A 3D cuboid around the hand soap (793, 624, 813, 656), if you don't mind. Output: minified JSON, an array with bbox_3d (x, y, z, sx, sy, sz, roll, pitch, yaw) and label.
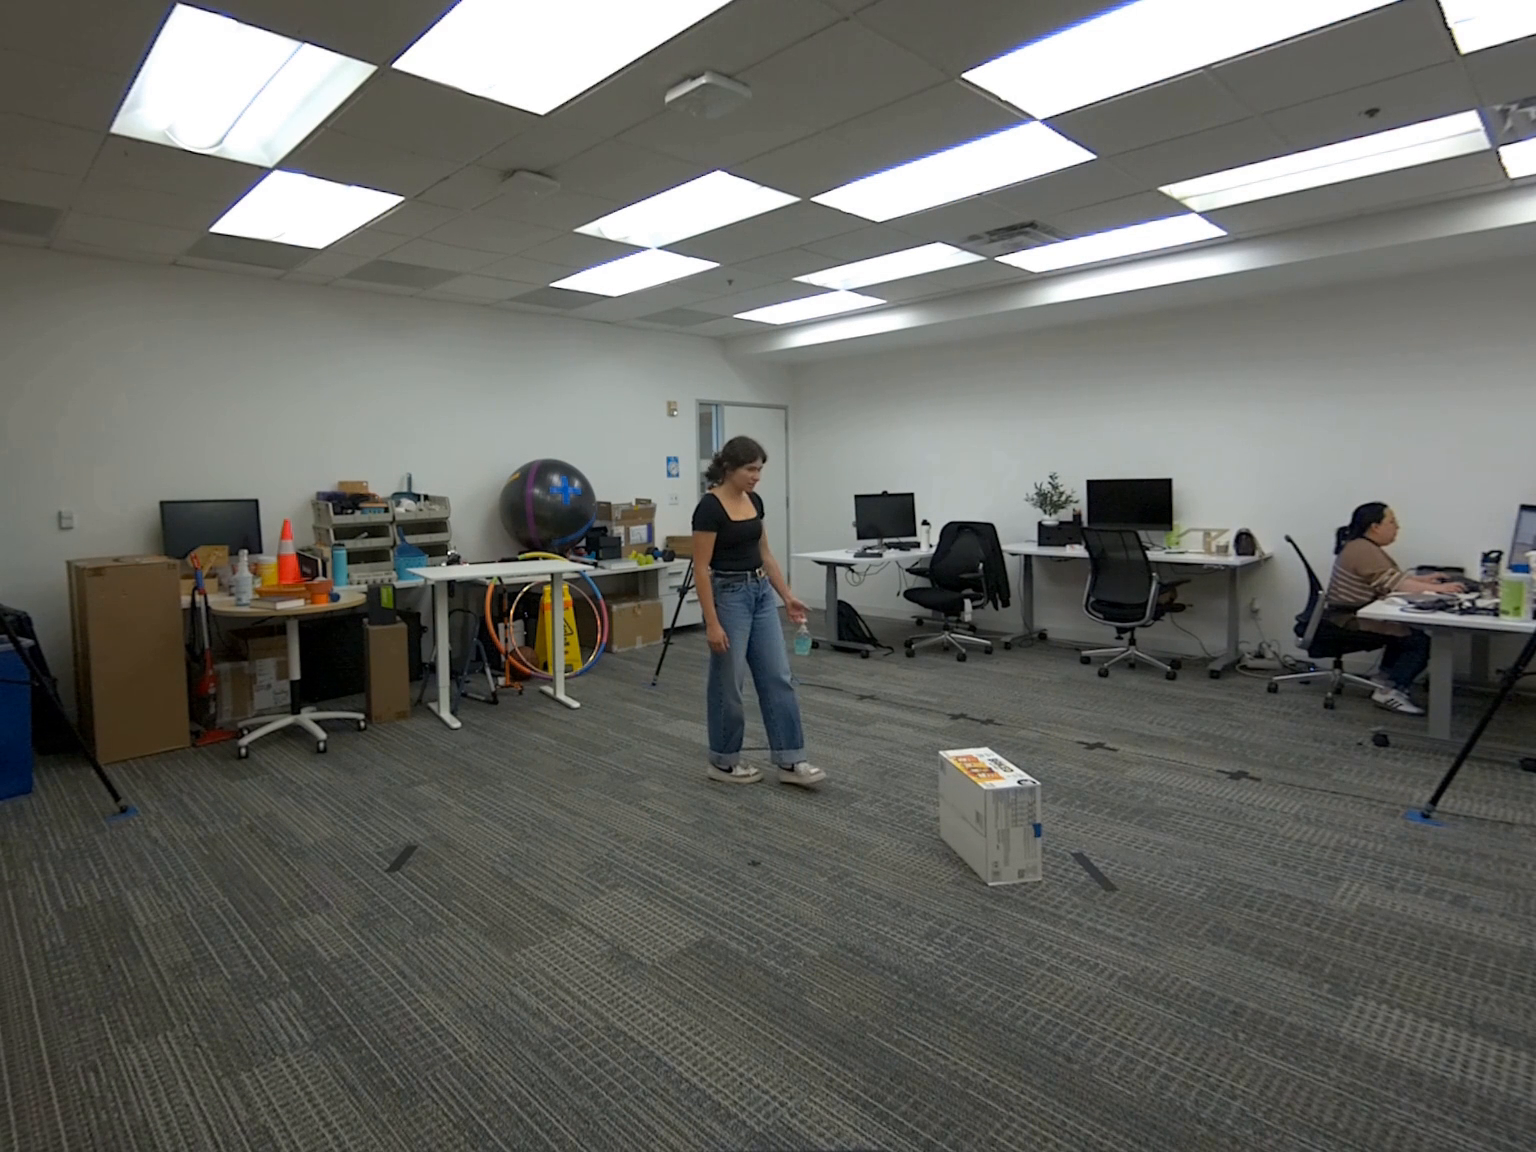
[{"bbox_3d":[0.153,0.283,4.012,0.085,0.166,0.043,4,10,10],"label":"hand soap"}]
